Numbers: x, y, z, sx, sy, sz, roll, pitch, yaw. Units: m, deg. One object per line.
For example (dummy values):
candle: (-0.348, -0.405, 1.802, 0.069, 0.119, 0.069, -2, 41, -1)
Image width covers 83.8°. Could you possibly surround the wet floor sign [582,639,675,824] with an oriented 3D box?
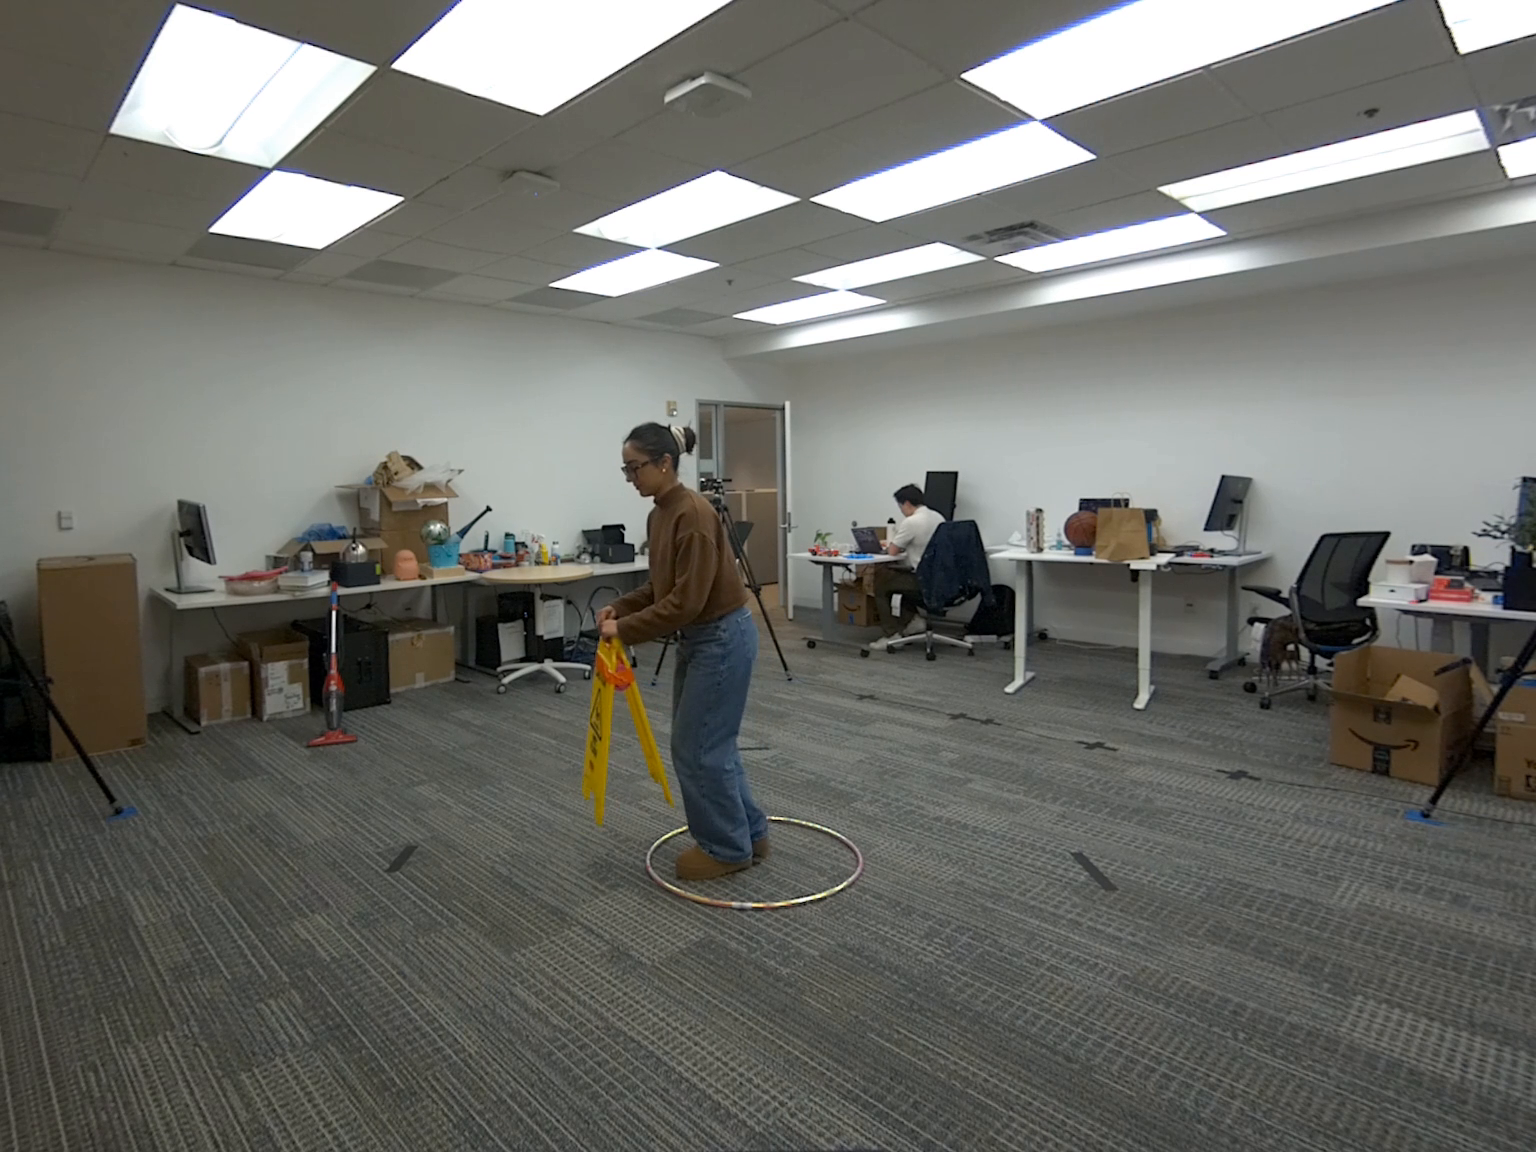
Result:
wet floor sign: (-0.525, 0.487, 2.970, 0.285, 0.639, 0.290, -8, 11, -22)
